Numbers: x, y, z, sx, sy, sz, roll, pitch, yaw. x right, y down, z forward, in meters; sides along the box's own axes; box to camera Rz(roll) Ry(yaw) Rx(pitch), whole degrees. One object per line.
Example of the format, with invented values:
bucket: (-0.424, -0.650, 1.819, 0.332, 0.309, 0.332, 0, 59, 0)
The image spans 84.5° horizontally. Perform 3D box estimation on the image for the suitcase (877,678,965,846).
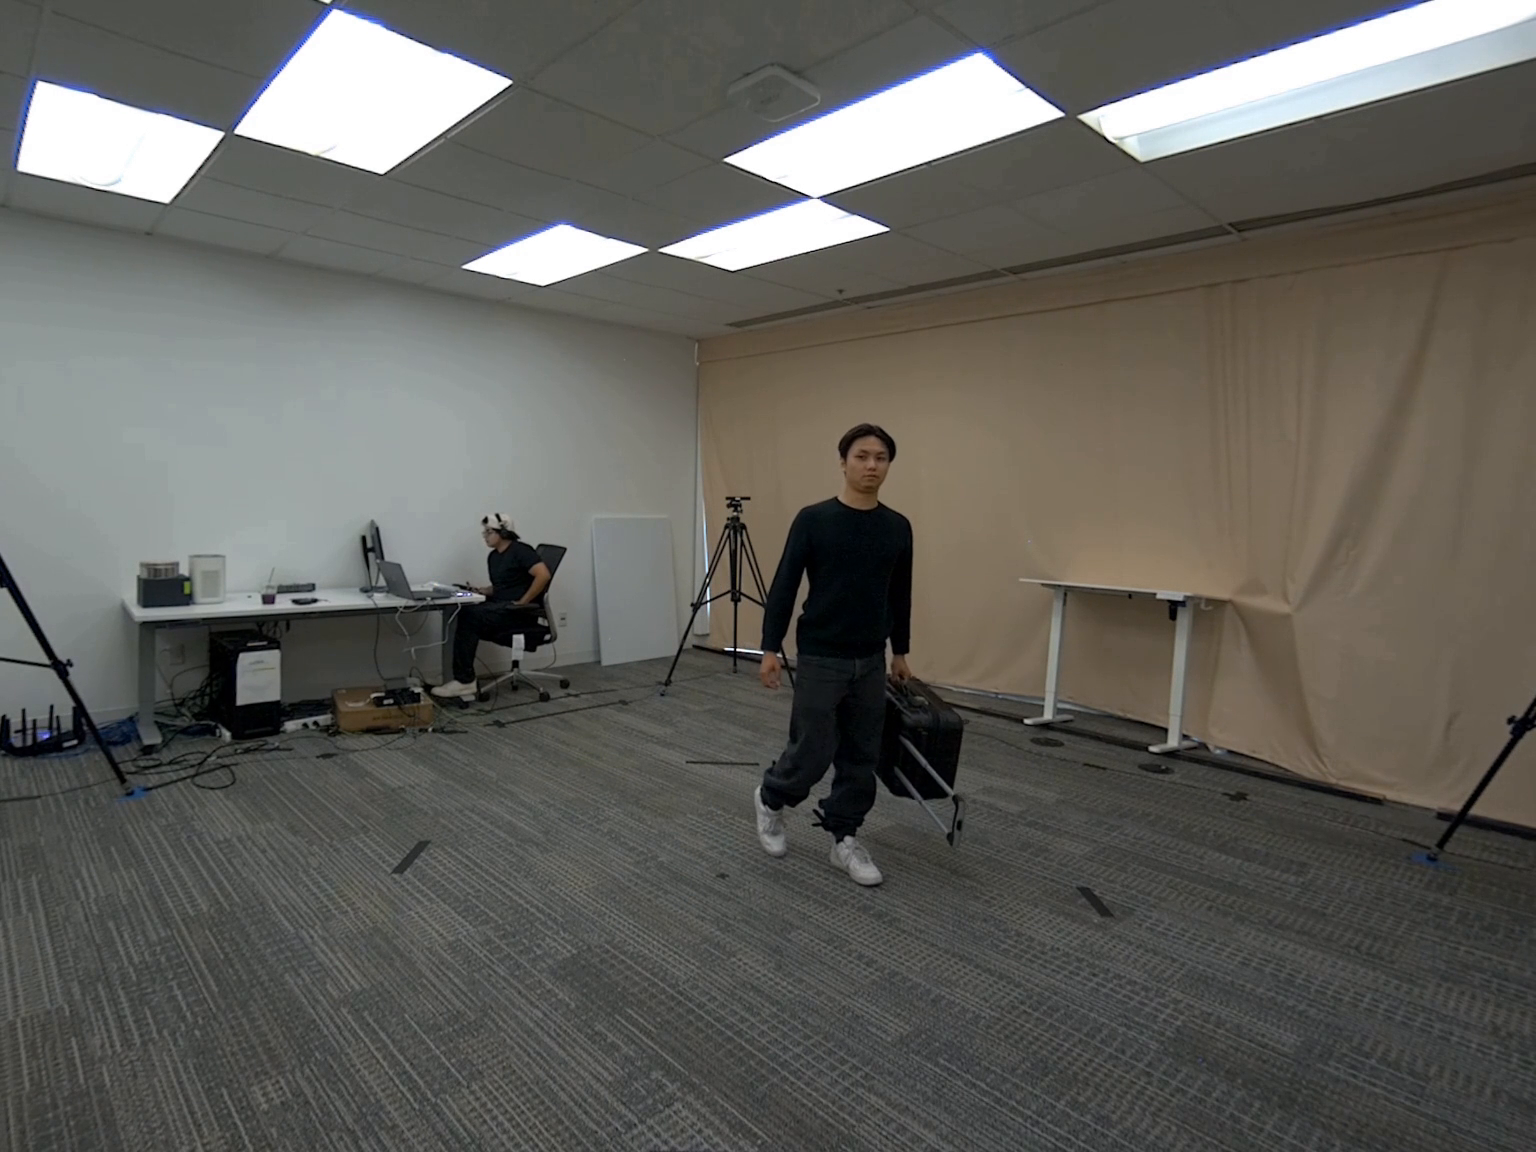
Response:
suitcase: (0.578, 0.656, 3.118, 0.254, 0.382, 0.996, 5, 10, -15)
